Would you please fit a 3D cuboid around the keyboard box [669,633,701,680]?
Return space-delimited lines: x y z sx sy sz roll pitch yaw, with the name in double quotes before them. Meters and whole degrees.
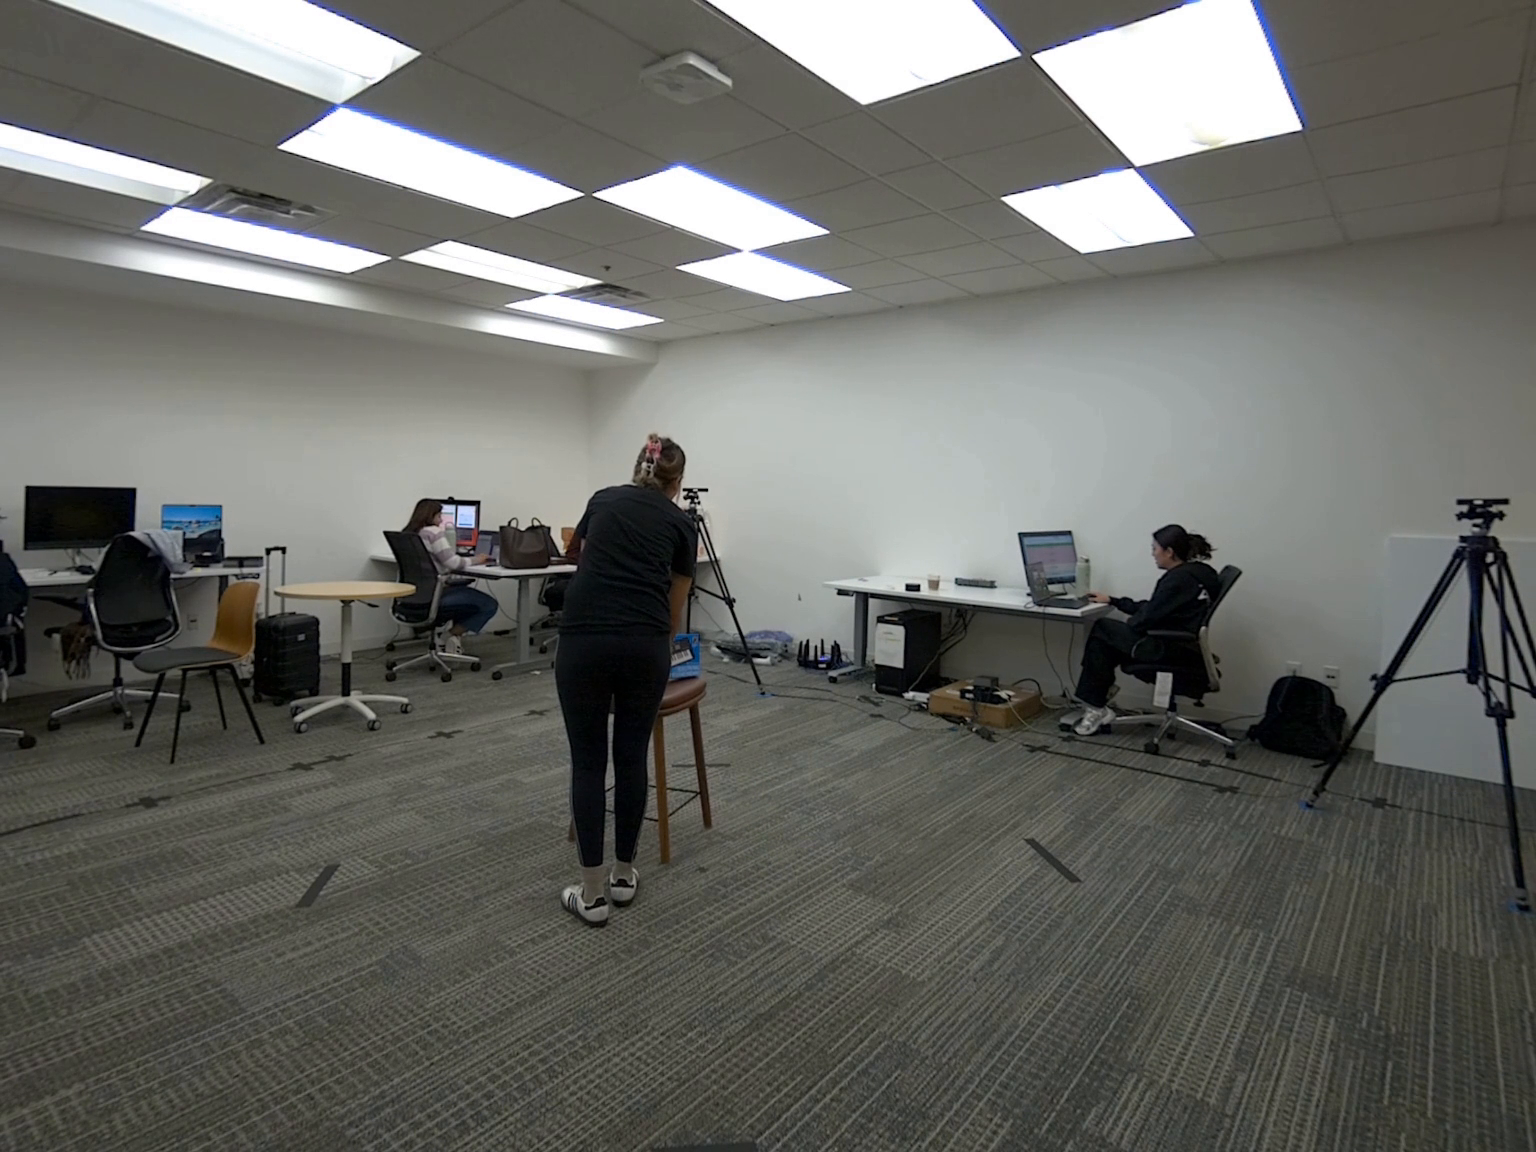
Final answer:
"keyboard box" -0.442 0.327 3.364 0.060 0.177 0.423 -9 -7 36
